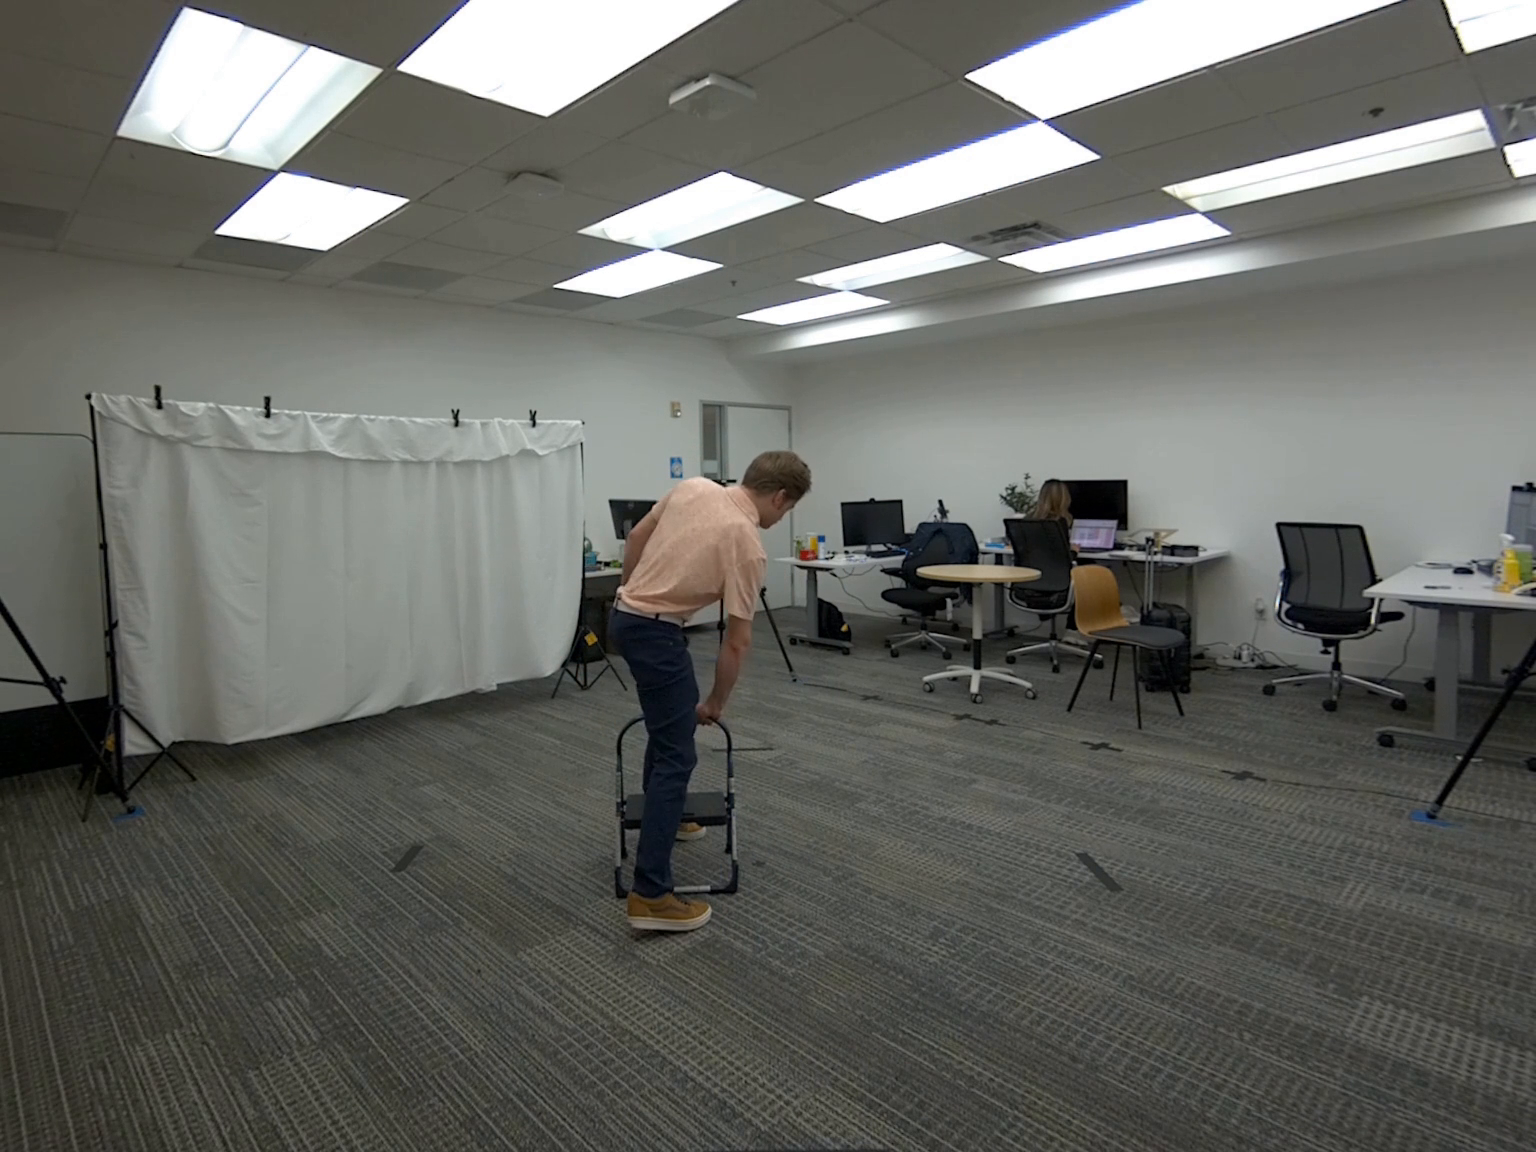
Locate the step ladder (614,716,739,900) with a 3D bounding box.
[{"bbox_3d":[-0.328,0.762,3.027,0.429,0.604,0.352,-2,4,-5],"label":"step ladder"}]
